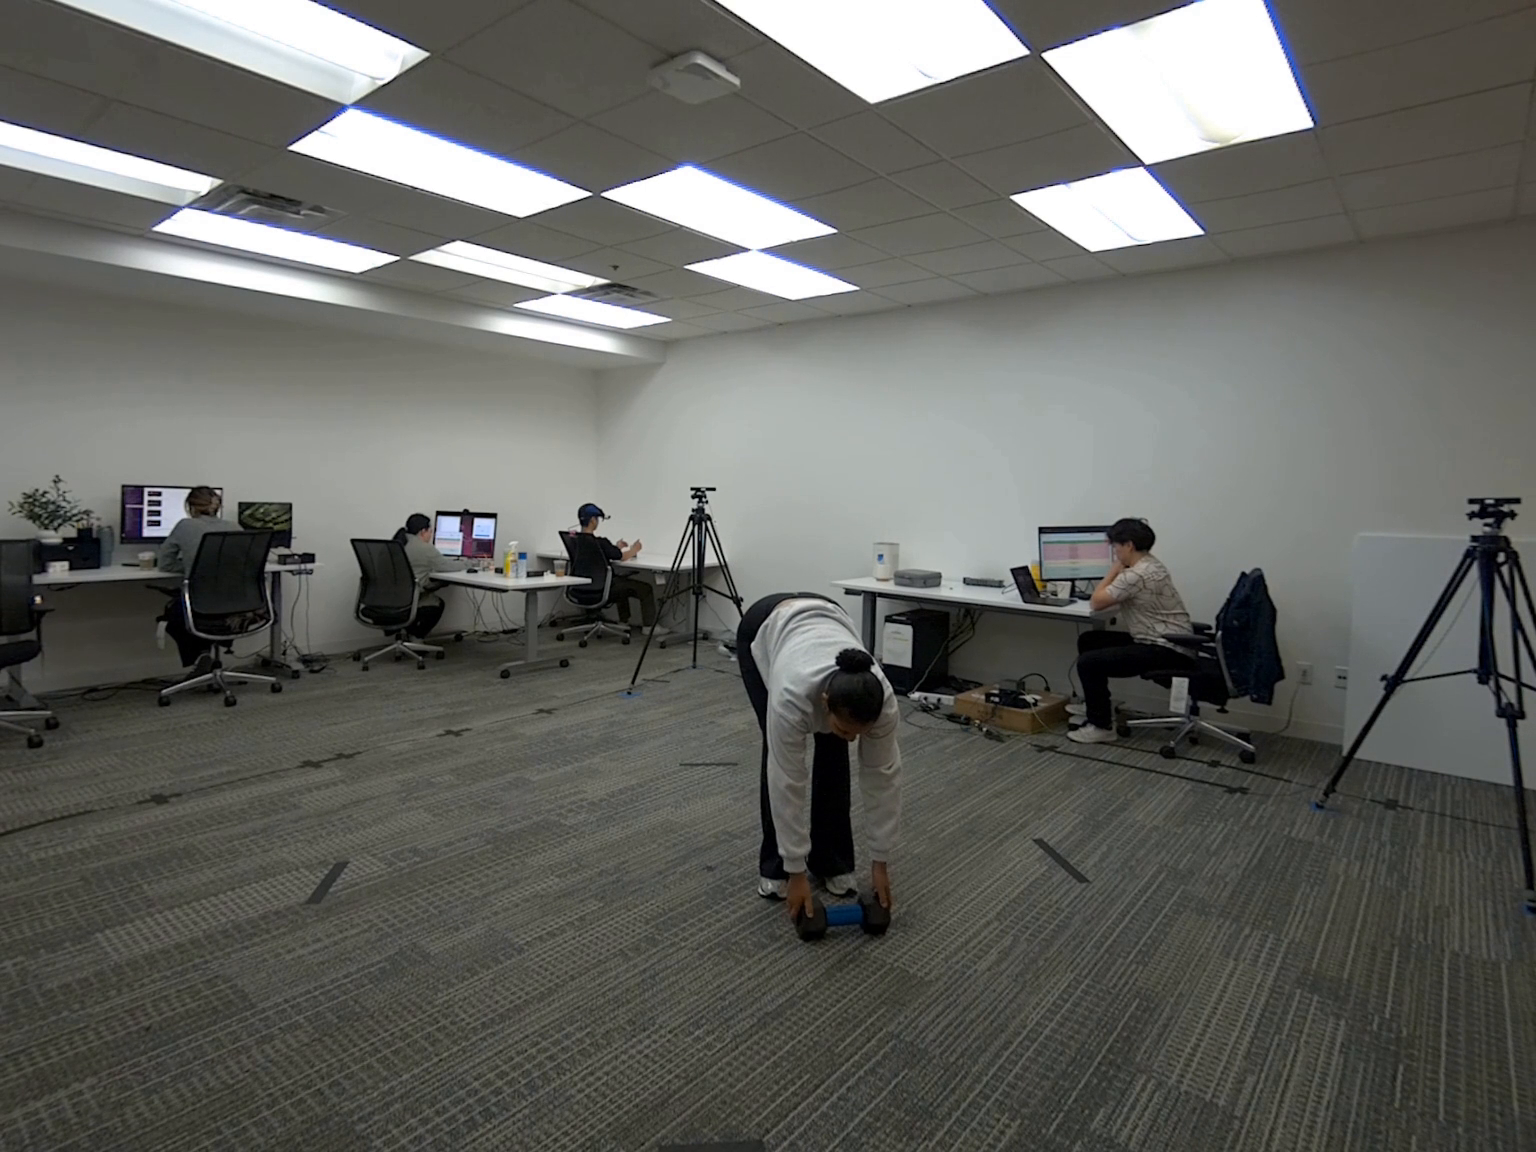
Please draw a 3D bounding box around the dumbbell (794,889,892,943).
[{"bbox_3d":[0.227,1.067,2.684,0.290,0.126,0.107,0,-25,-12],"label":"dumbbell"}]
